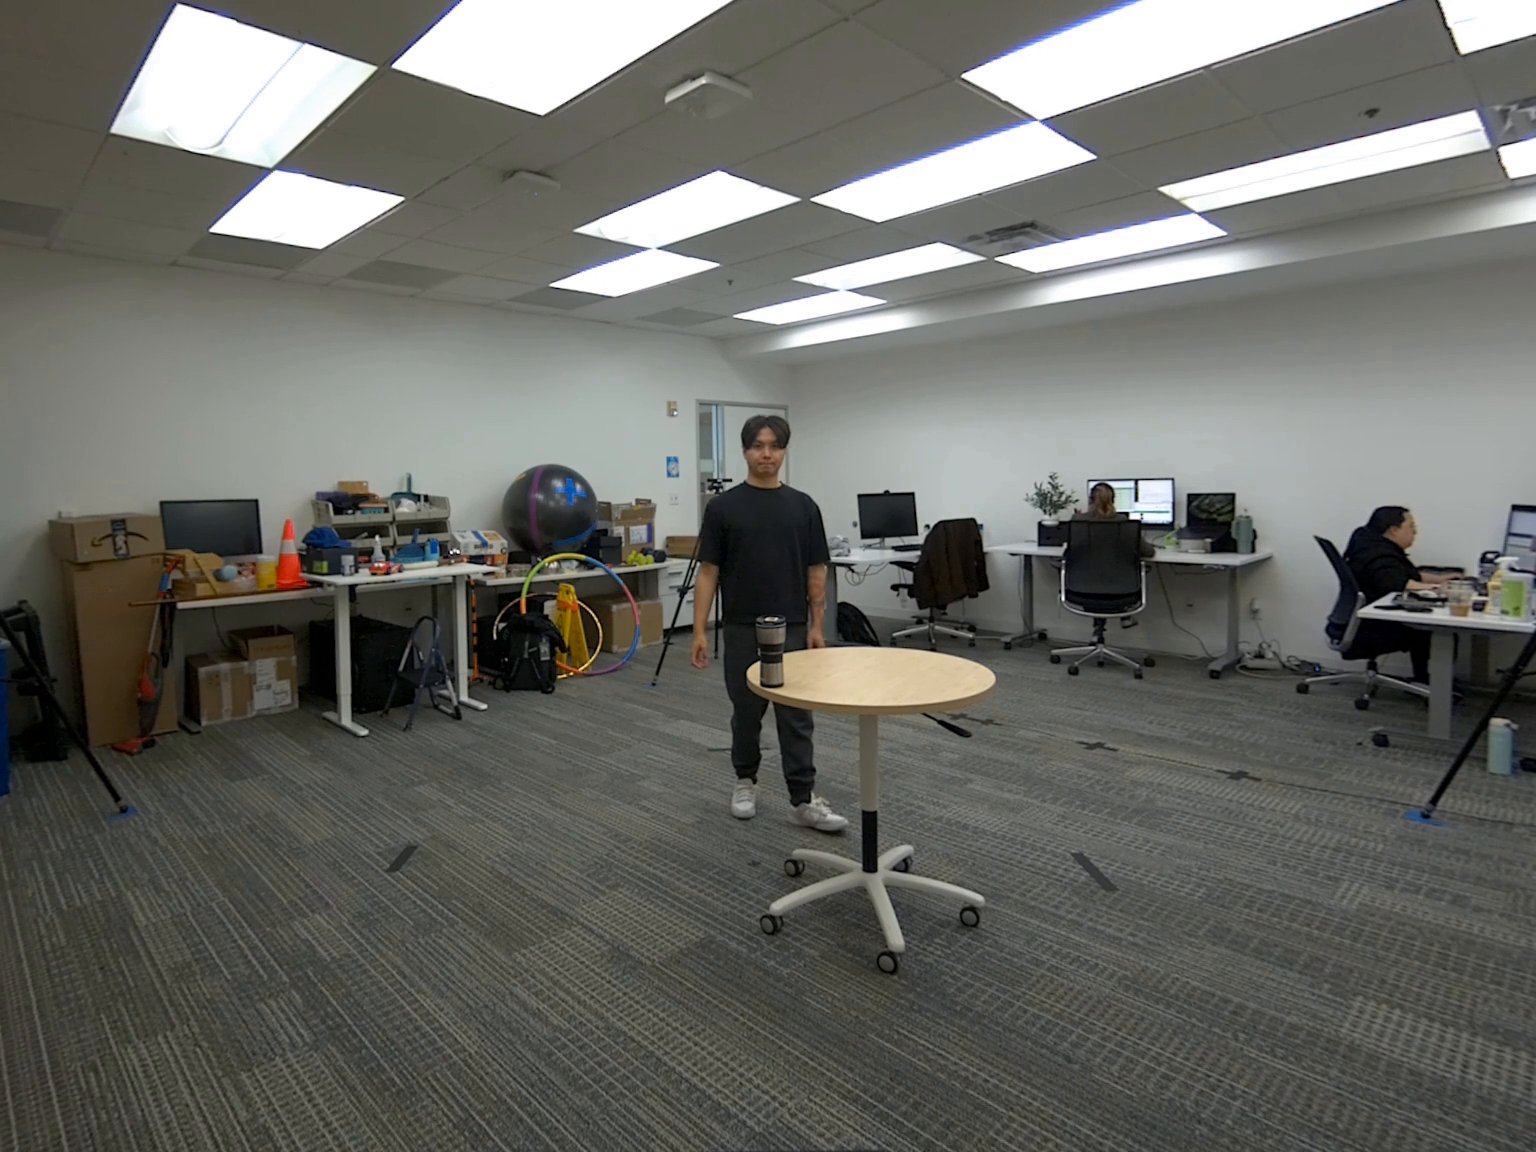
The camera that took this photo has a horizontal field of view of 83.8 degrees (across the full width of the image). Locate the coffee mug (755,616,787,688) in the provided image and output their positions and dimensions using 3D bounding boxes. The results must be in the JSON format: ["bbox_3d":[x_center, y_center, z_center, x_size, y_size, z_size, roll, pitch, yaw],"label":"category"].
[{"bbox_3d":[0.023,0.227,2.557,0.090,0.202,0.119,-1,7,44],"label":"coffee mug"}]
